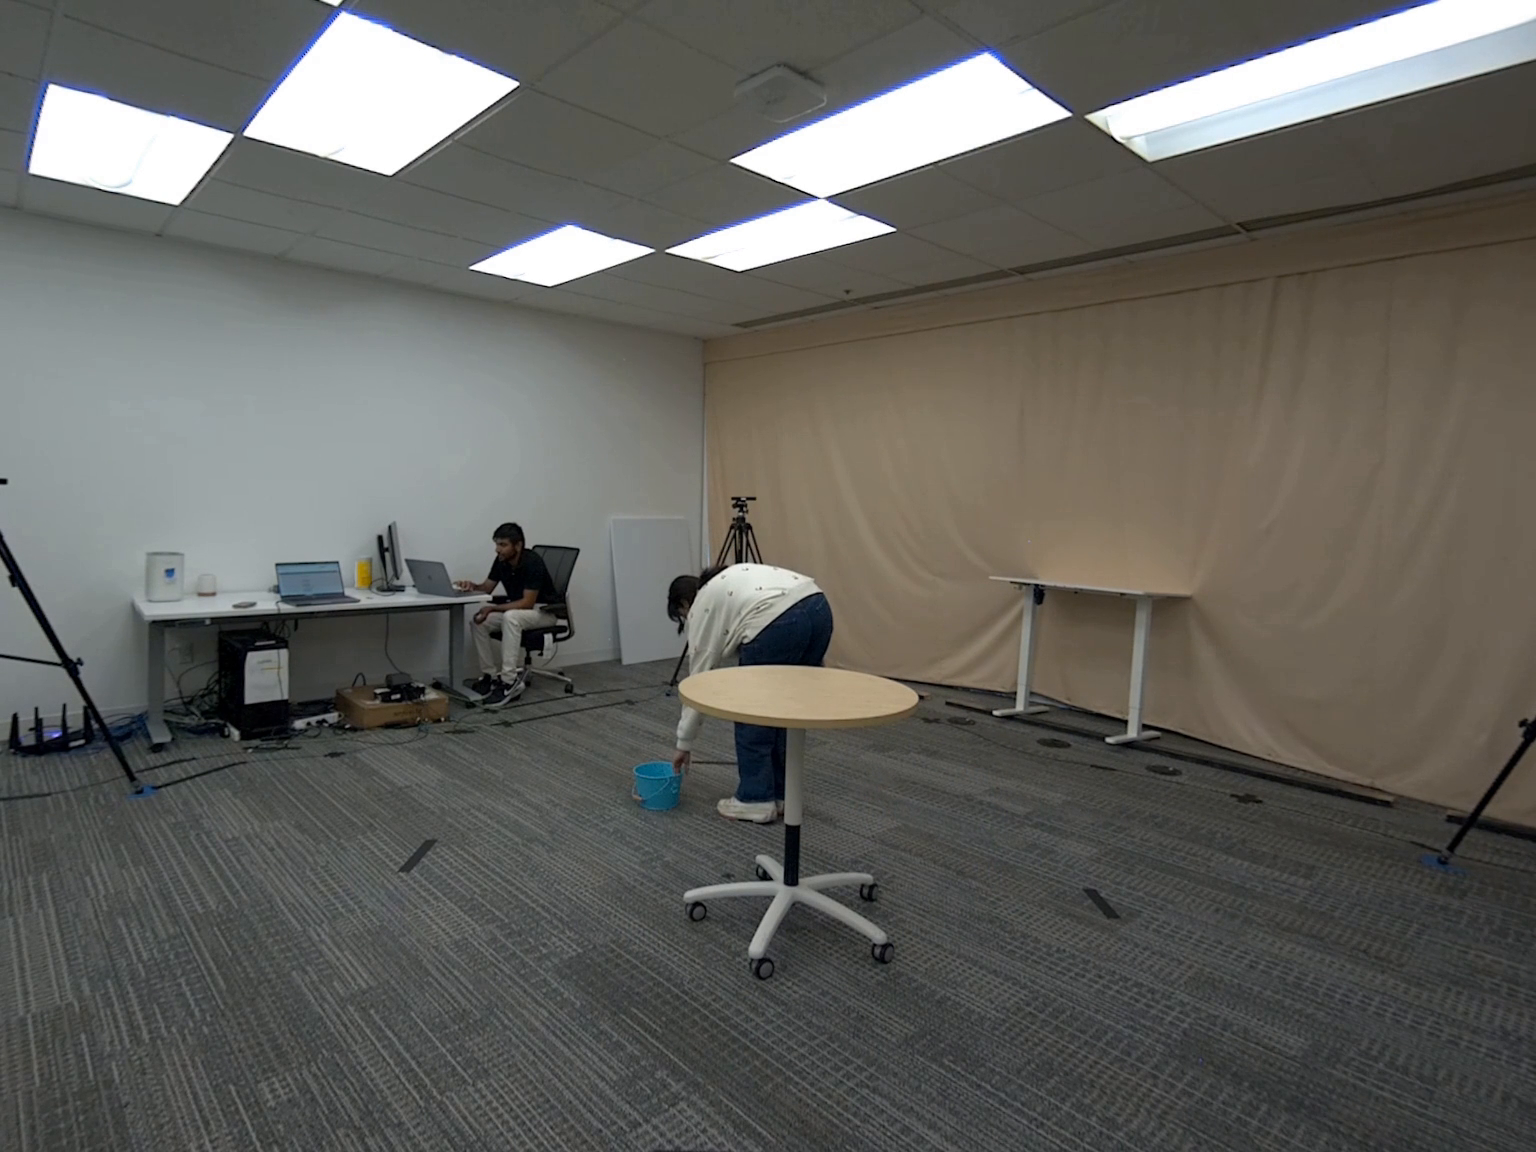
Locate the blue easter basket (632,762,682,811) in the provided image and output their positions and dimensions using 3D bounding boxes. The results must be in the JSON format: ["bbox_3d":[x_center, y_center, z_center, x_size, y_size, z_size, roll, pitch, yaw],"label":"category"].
[{"bbox_3d":[-0.506,0.954,3.844,0.243,0.155,0.244,1,4,-1],"label":"blue easter basket"}]
